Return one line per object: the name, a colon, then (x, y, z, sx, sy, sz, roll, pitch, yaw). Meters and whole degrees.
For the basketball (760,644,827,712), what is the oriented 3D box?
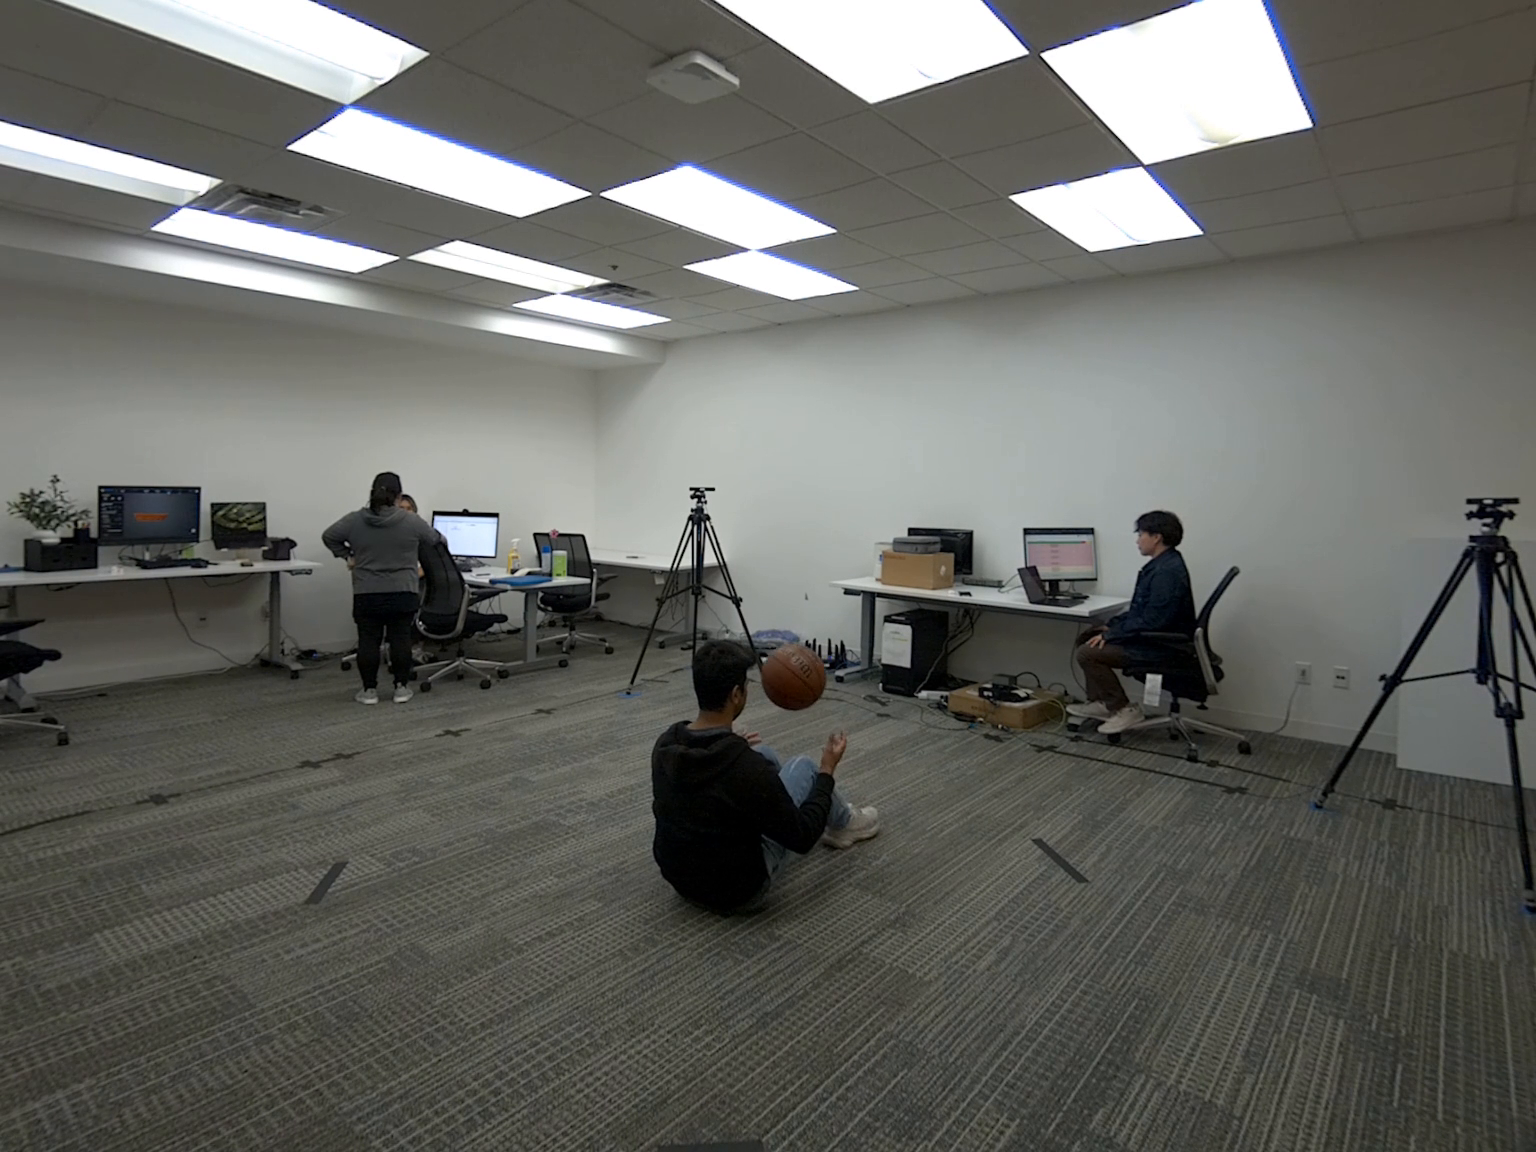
basketball: (0.083, 0.408, 3.109, 0.235, 0.235, 0.237, 1, 4, -2)
